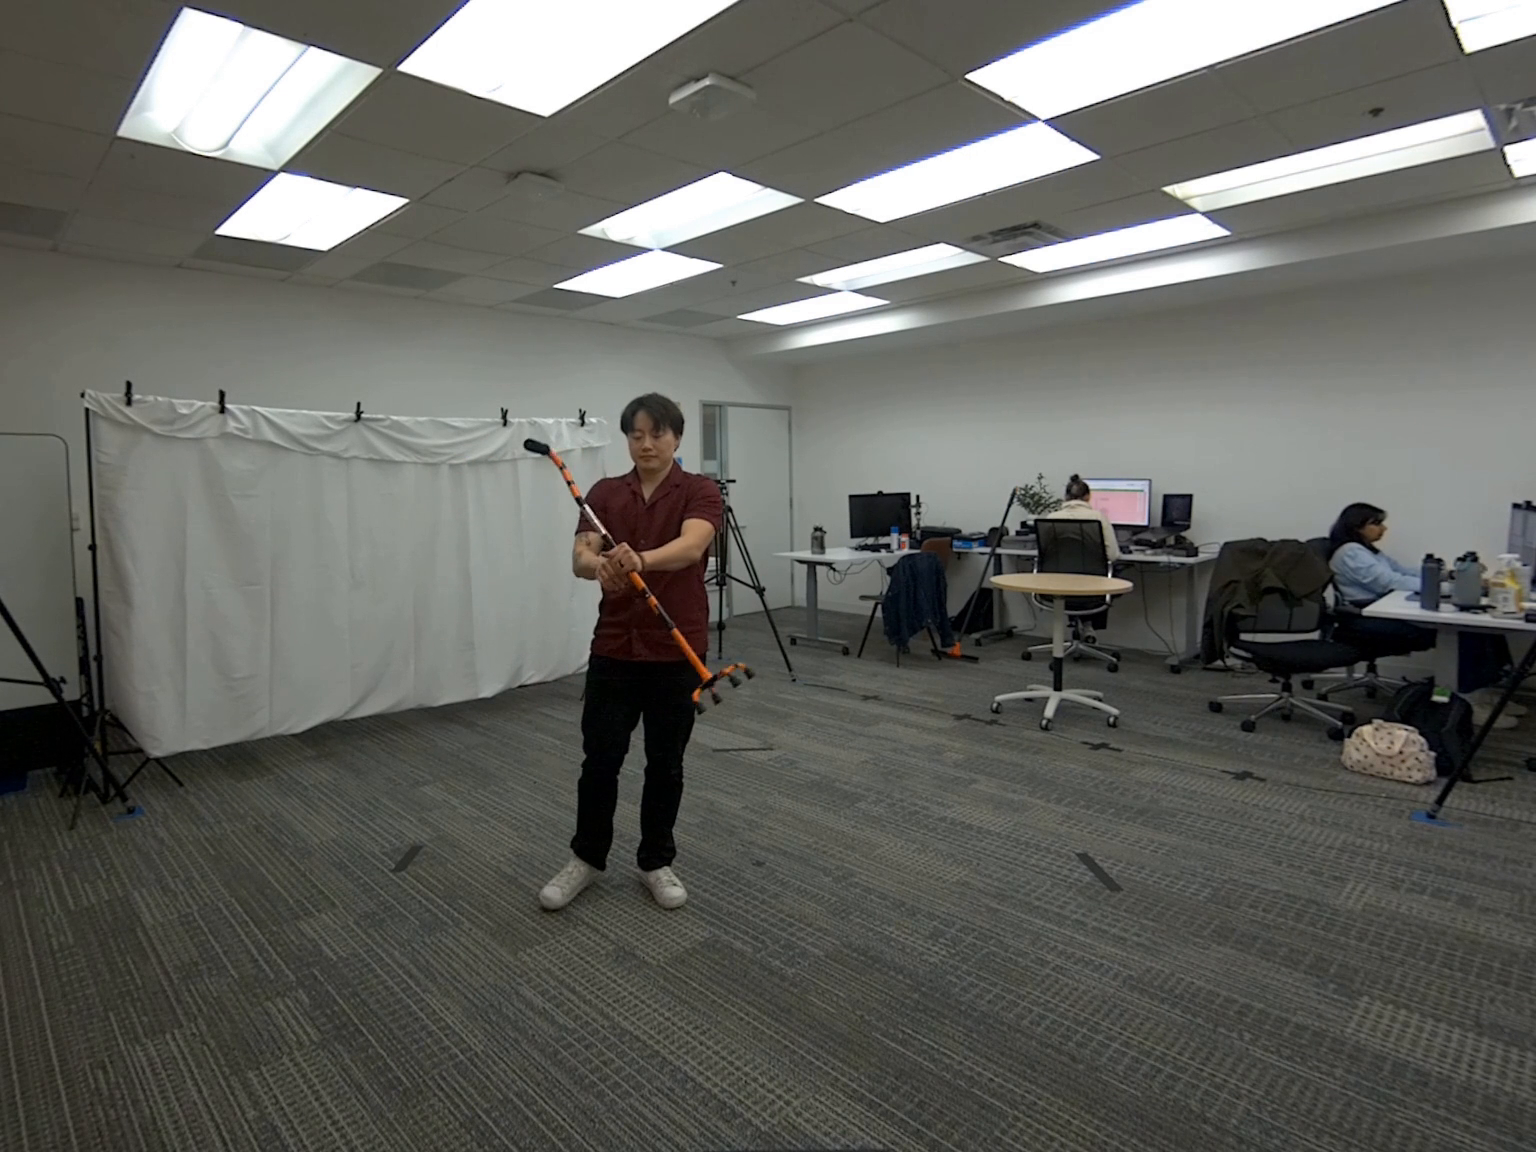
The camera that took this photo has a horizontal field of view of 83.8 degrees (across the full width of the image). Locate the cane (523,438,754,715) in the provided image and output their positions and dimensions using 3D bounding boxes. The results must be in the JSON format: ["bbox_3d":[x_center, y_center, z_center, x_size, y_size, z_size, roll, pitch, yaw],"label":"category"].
[{"bbox_3d":[-0.395,-0.029,2.425,0.152,0.921,0.203,-37,-11,9],"label":"cane"}]
